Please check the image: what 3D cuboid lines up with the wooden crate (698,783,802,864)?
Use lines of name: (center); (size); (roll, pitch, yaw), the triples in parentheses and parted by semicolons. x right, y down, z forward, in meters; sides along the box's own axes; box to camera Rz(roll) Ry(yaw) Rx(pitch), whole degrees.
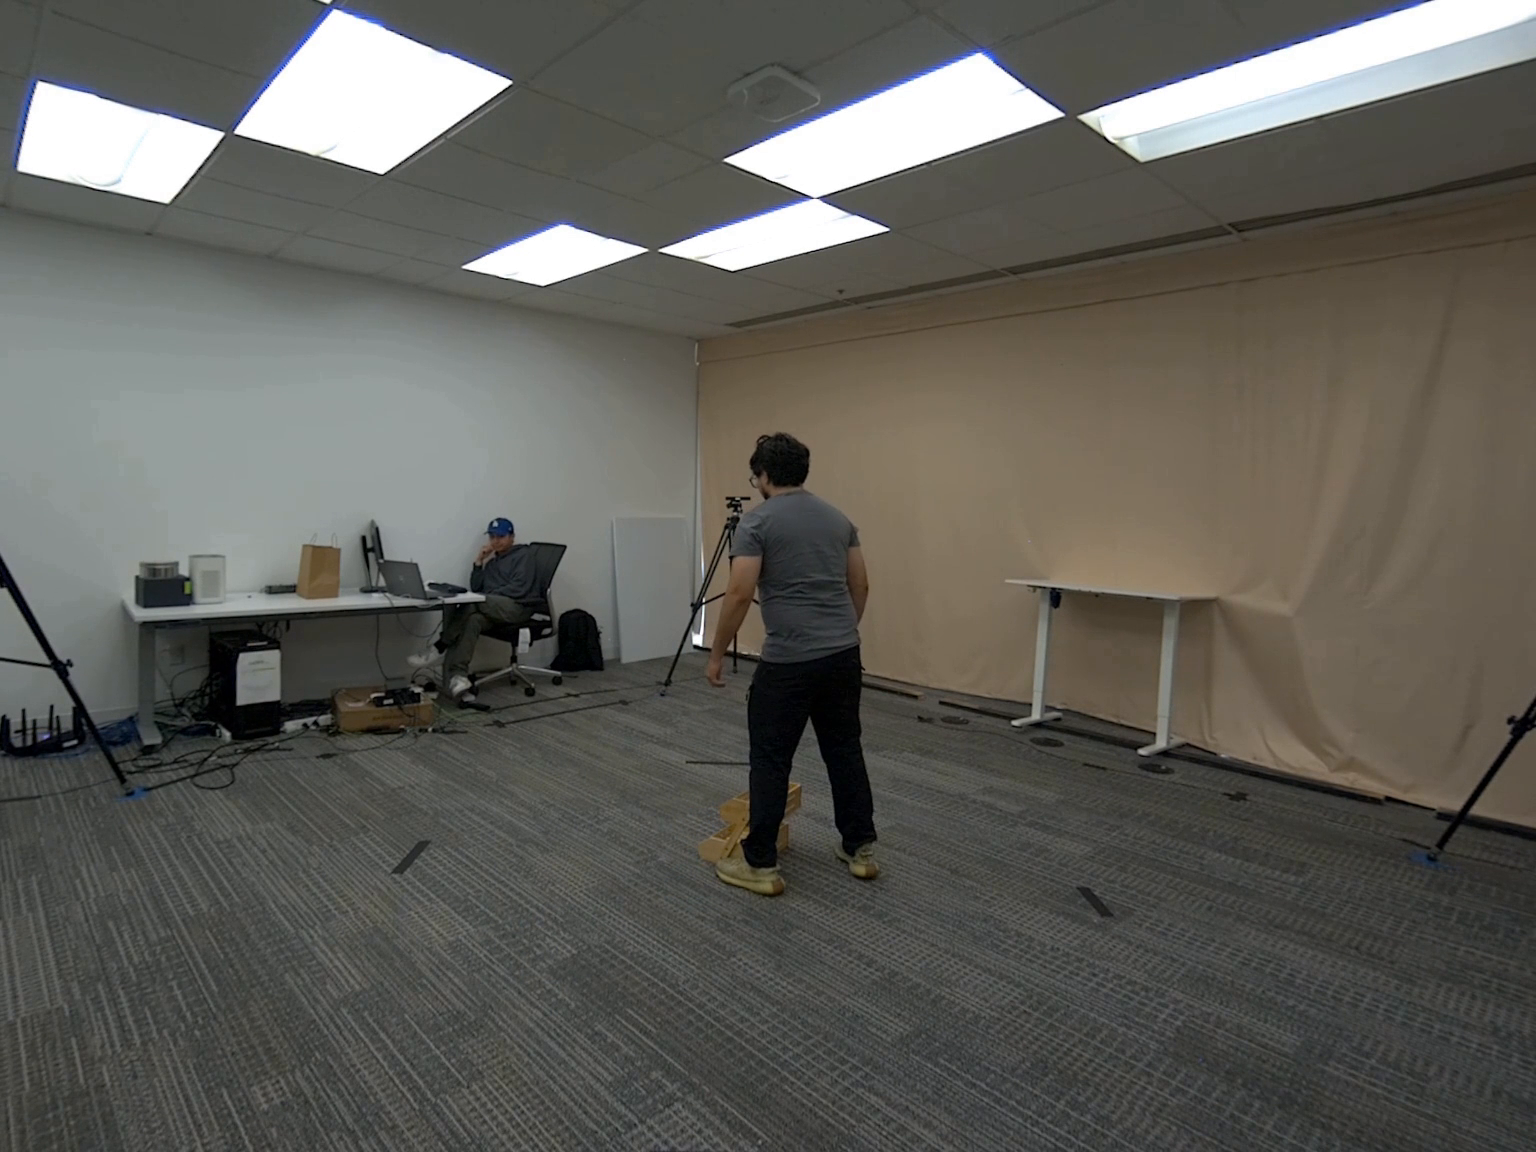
wooden crate: (-0.077, 0.955, 3.308); (0.308, 0.272, 0.318); (4, 5, 28)
